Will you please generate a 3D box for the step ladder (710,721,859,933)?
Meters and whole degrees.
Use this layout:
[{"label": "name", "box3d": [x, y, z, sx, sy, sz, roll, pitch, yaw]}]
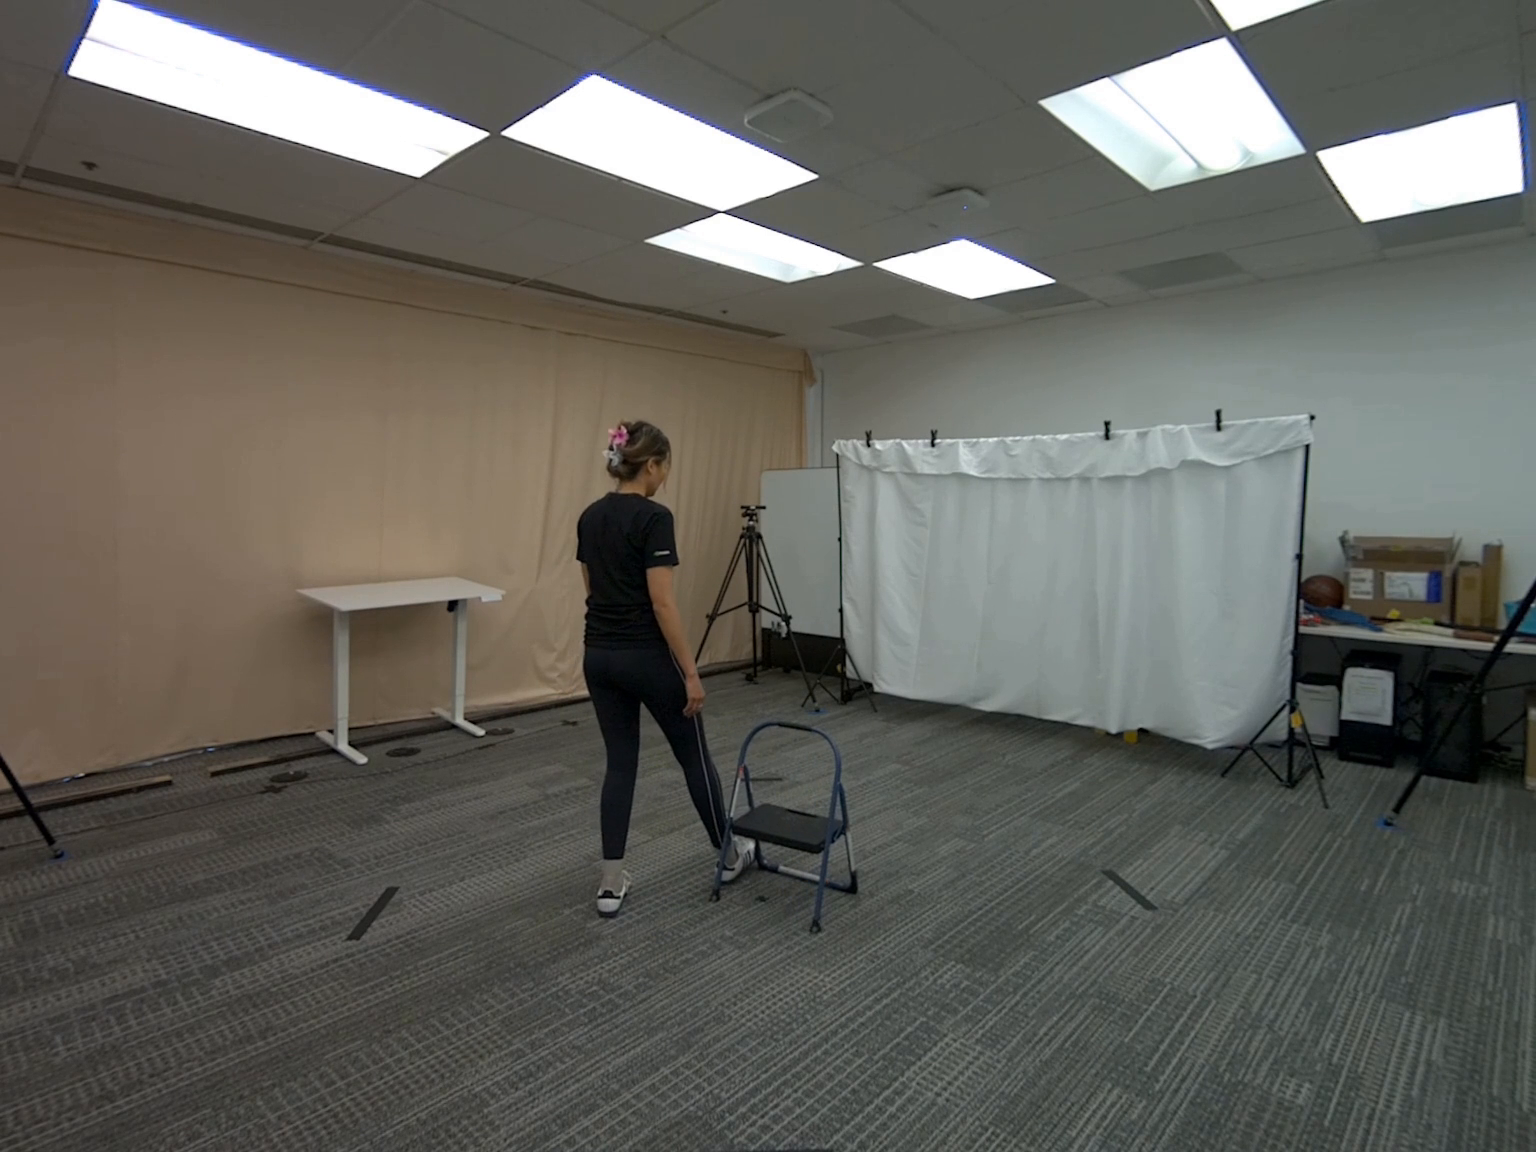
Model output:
[{"label": "step ladder", "box3d": [0.065, 0.840, 2.981, 0.443, 0.604, 0.340, 3, 5, 31]}]
